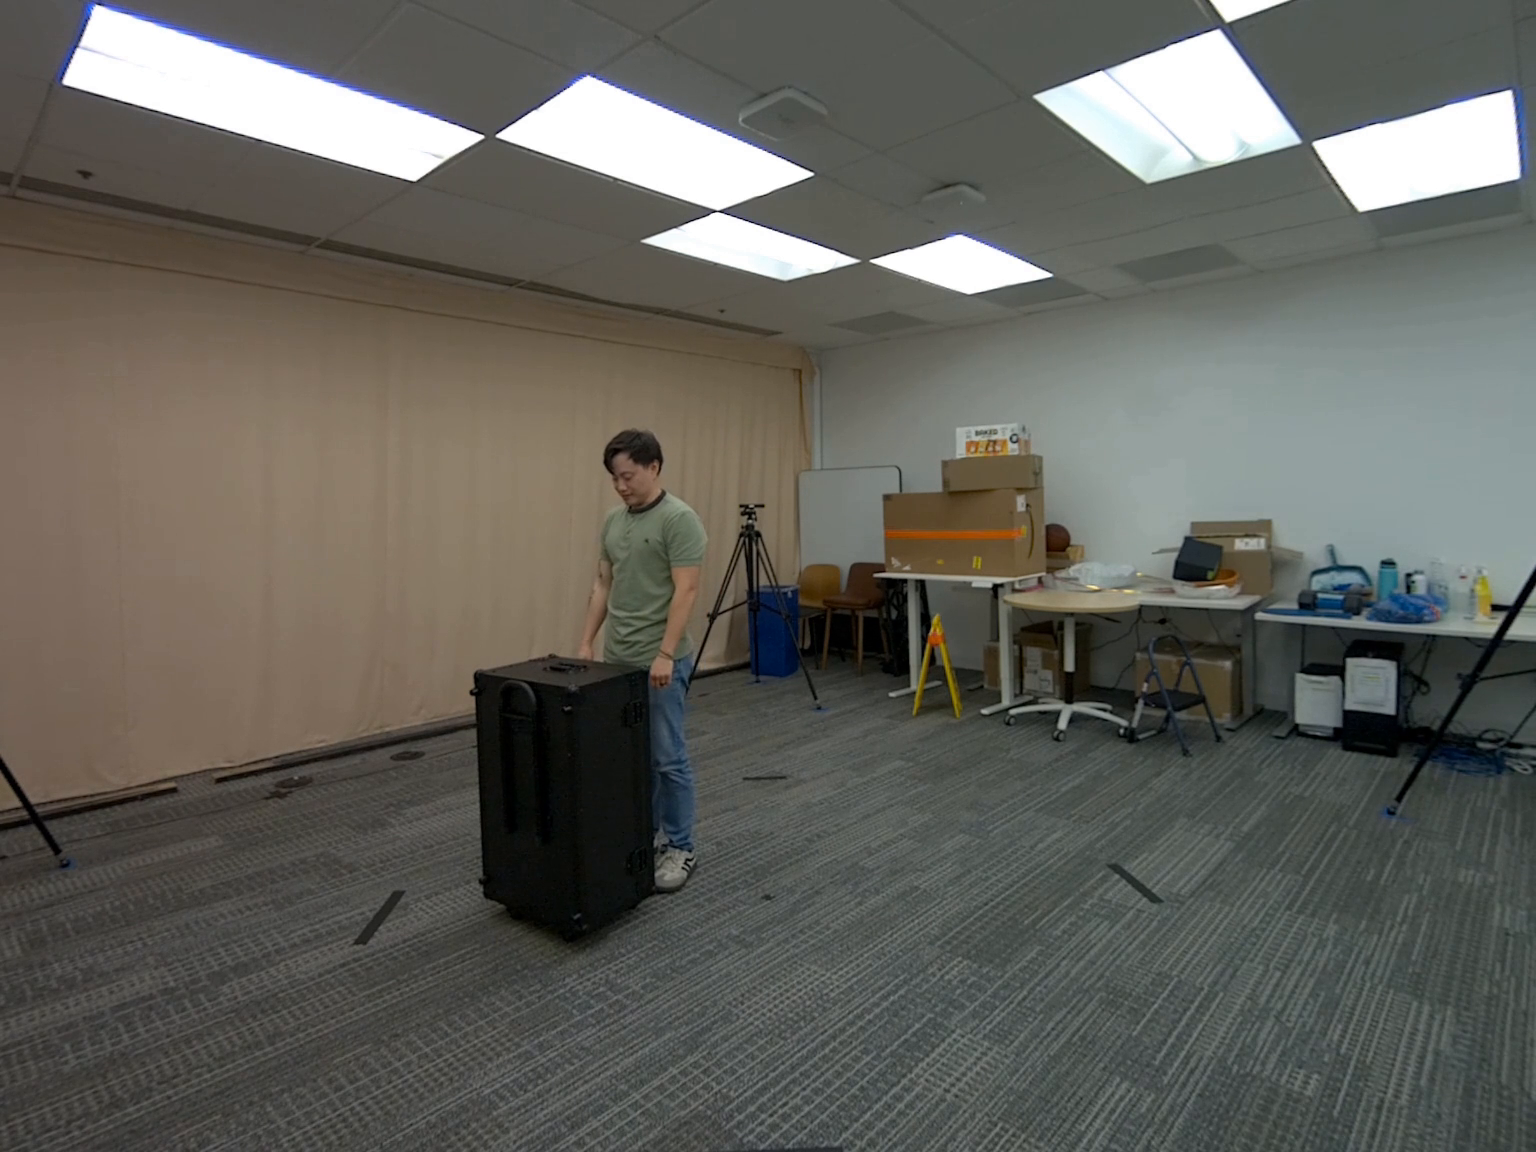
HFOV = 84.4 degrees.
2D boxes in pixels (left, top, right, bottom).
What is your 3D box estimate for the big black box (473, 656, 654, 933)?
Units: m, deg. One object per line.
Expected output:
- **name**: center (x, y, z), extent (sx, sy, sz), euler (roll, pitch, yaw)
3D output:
- **big black box**: center (-0.685, 0.745, 2.855), extent (0.537, 0.859, 0.385), euler (2, 5, 36)
